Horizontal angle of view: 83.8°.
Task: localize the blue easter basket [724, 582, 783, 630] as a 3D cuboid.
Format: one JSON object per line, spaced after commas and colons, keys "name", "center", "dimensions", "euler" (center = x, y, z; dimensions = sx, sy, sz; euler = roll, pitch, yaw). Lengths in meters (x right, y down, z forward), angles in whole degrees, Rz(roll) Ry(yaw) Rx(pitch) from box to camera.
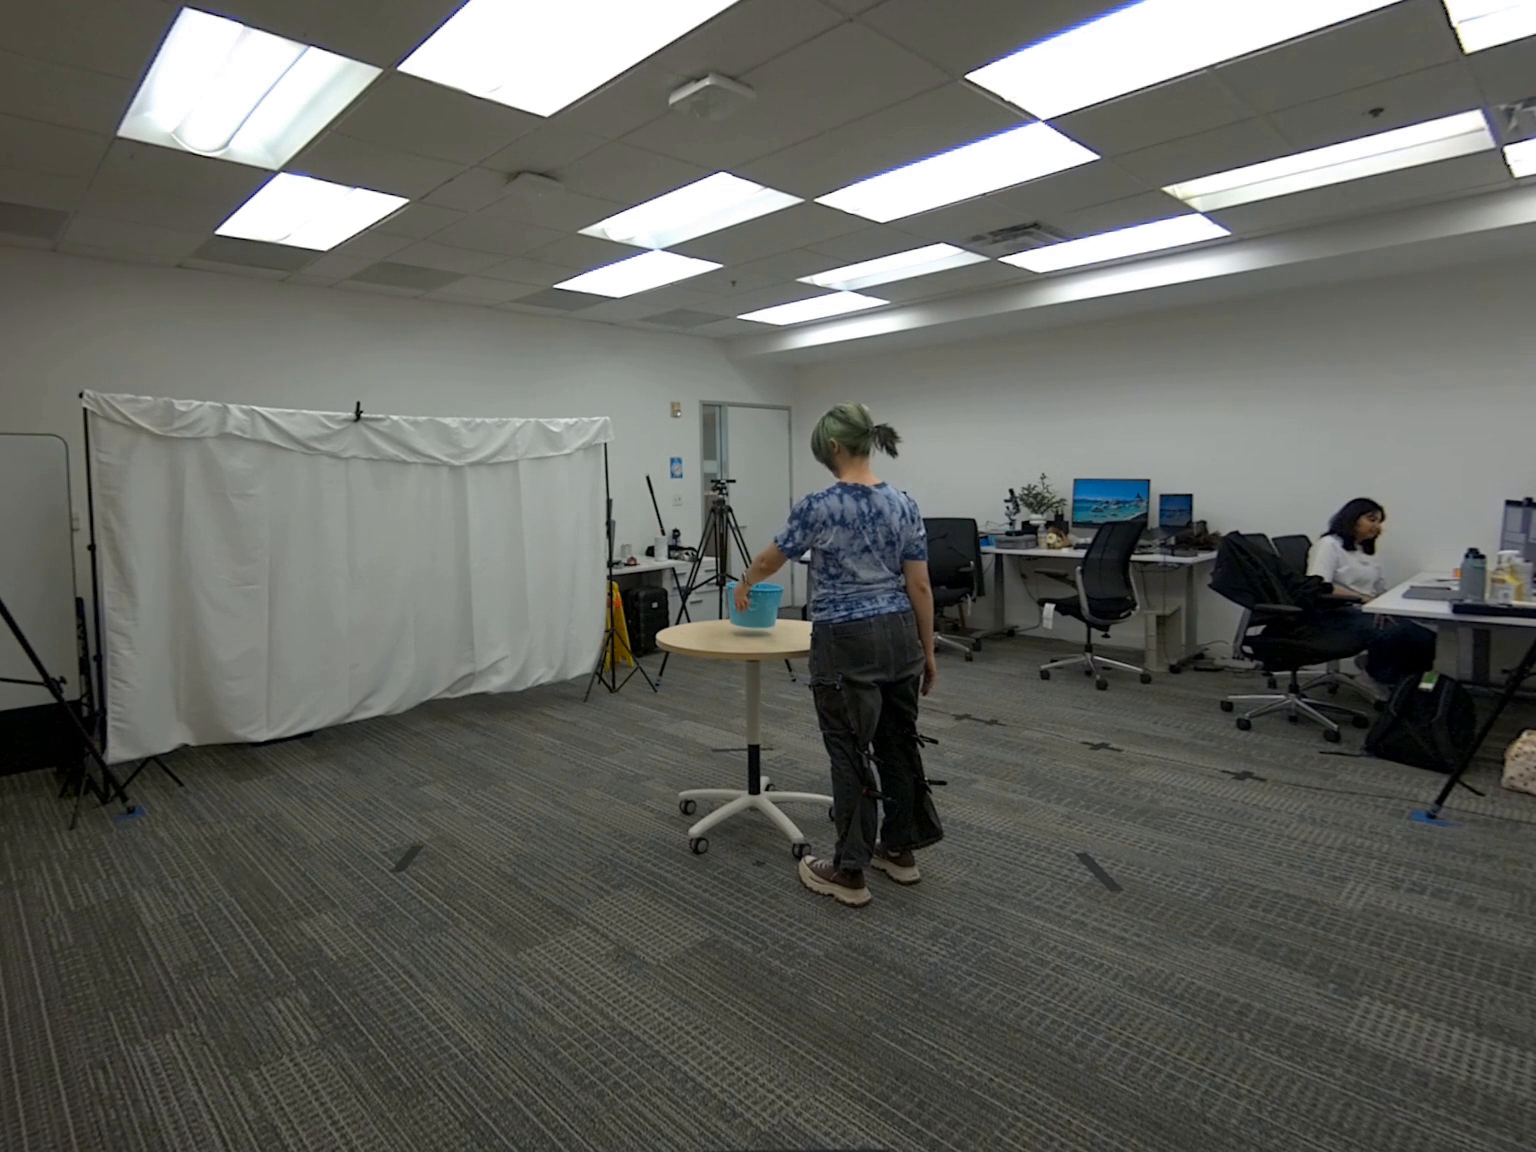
{"name": "blue easter basket", "center": [-0.052, 0.116, 3.391], "dimensions": [0.243, 0.155, 0.245], "euler": [3, 6, -2]}
